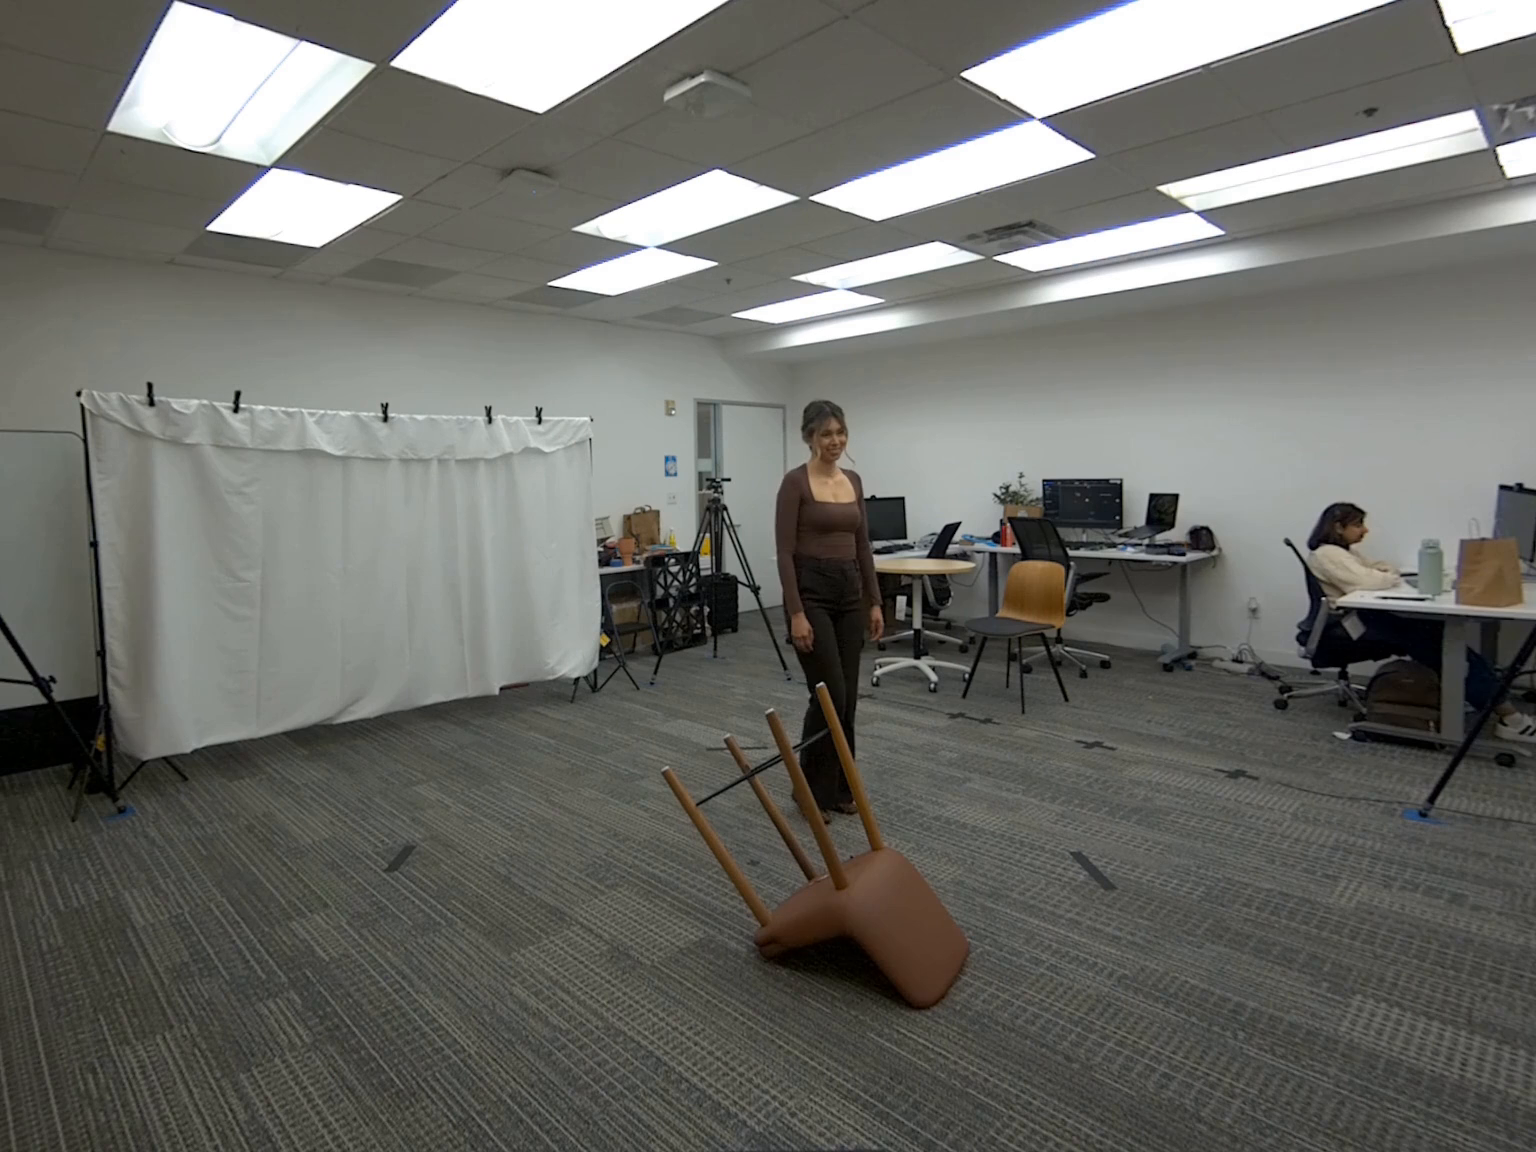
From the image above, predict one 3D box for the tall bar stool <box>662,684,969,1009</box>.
[{"bbox_3d":[0.148,0.848,2.590,0.470,0.905,0.446,-38,-14,27],"label":"tall bar stool"}]
